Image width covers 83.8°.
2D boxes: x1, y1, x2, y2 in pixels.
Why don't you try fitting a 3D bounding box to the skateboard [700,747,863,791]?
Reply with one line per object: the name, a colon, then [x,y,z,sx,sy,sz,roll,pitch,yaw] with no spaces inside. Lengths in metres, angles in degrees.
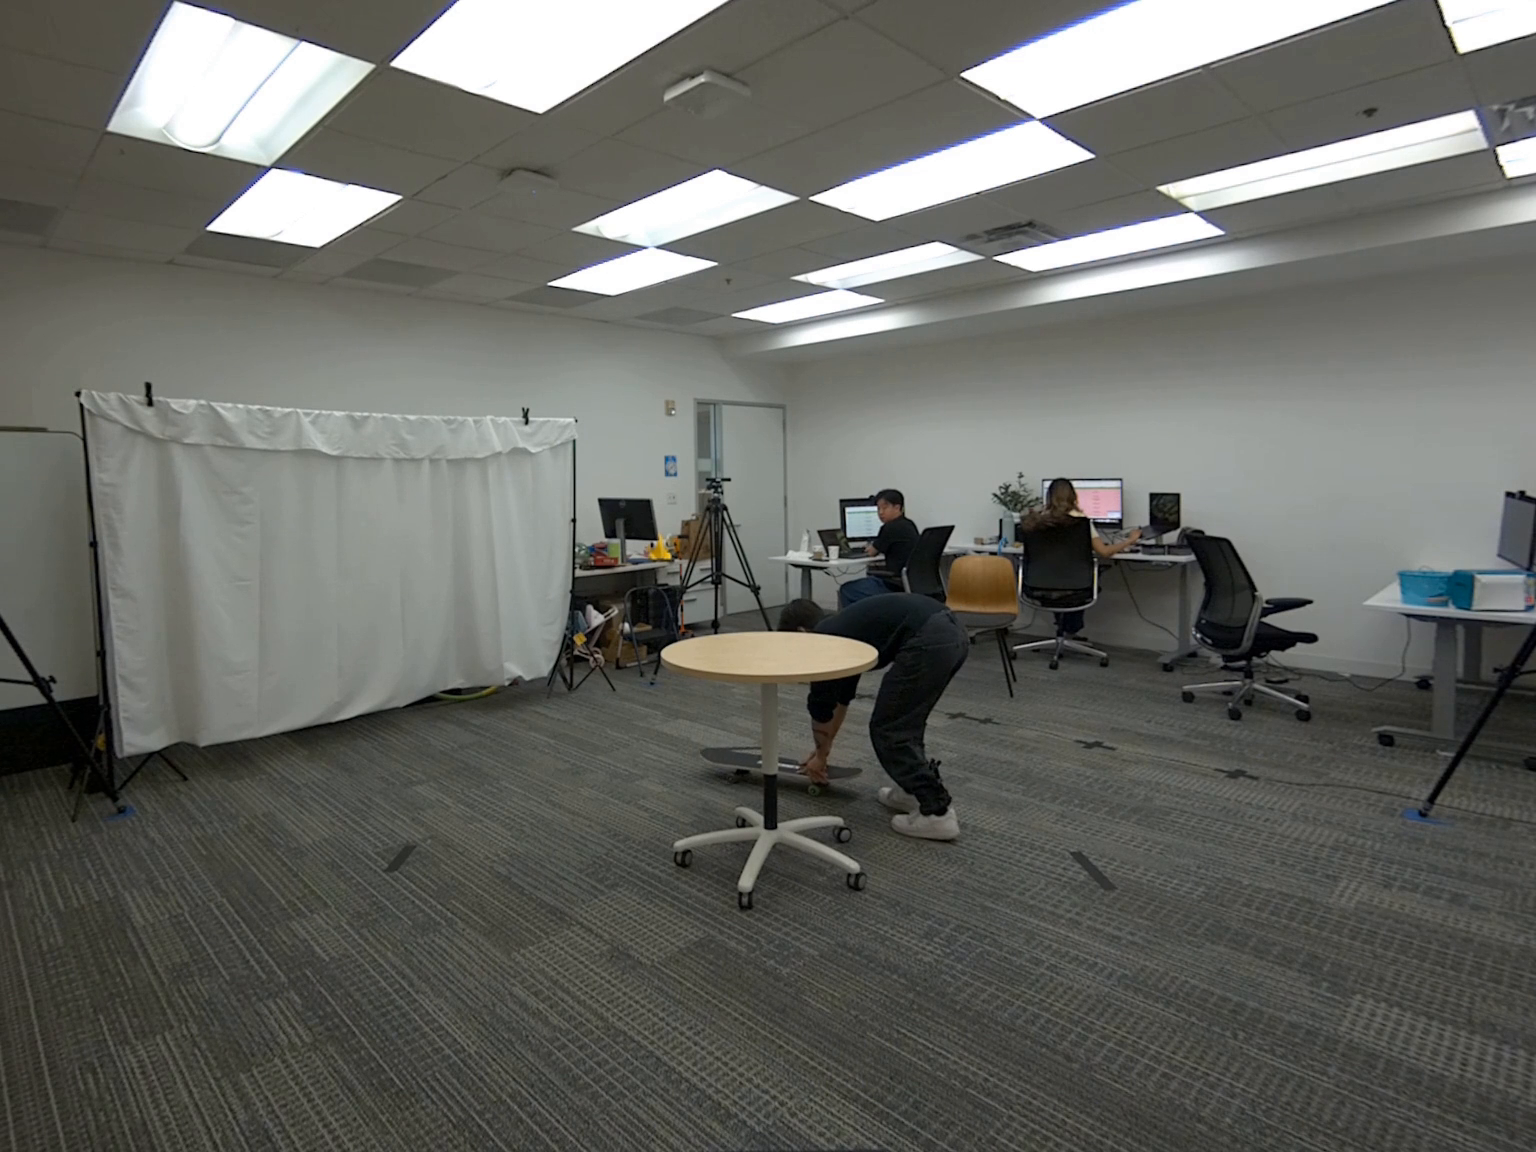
skateboard: [0.053,0.894,3.906,0.804,0.110,0.190,2,6,25]
